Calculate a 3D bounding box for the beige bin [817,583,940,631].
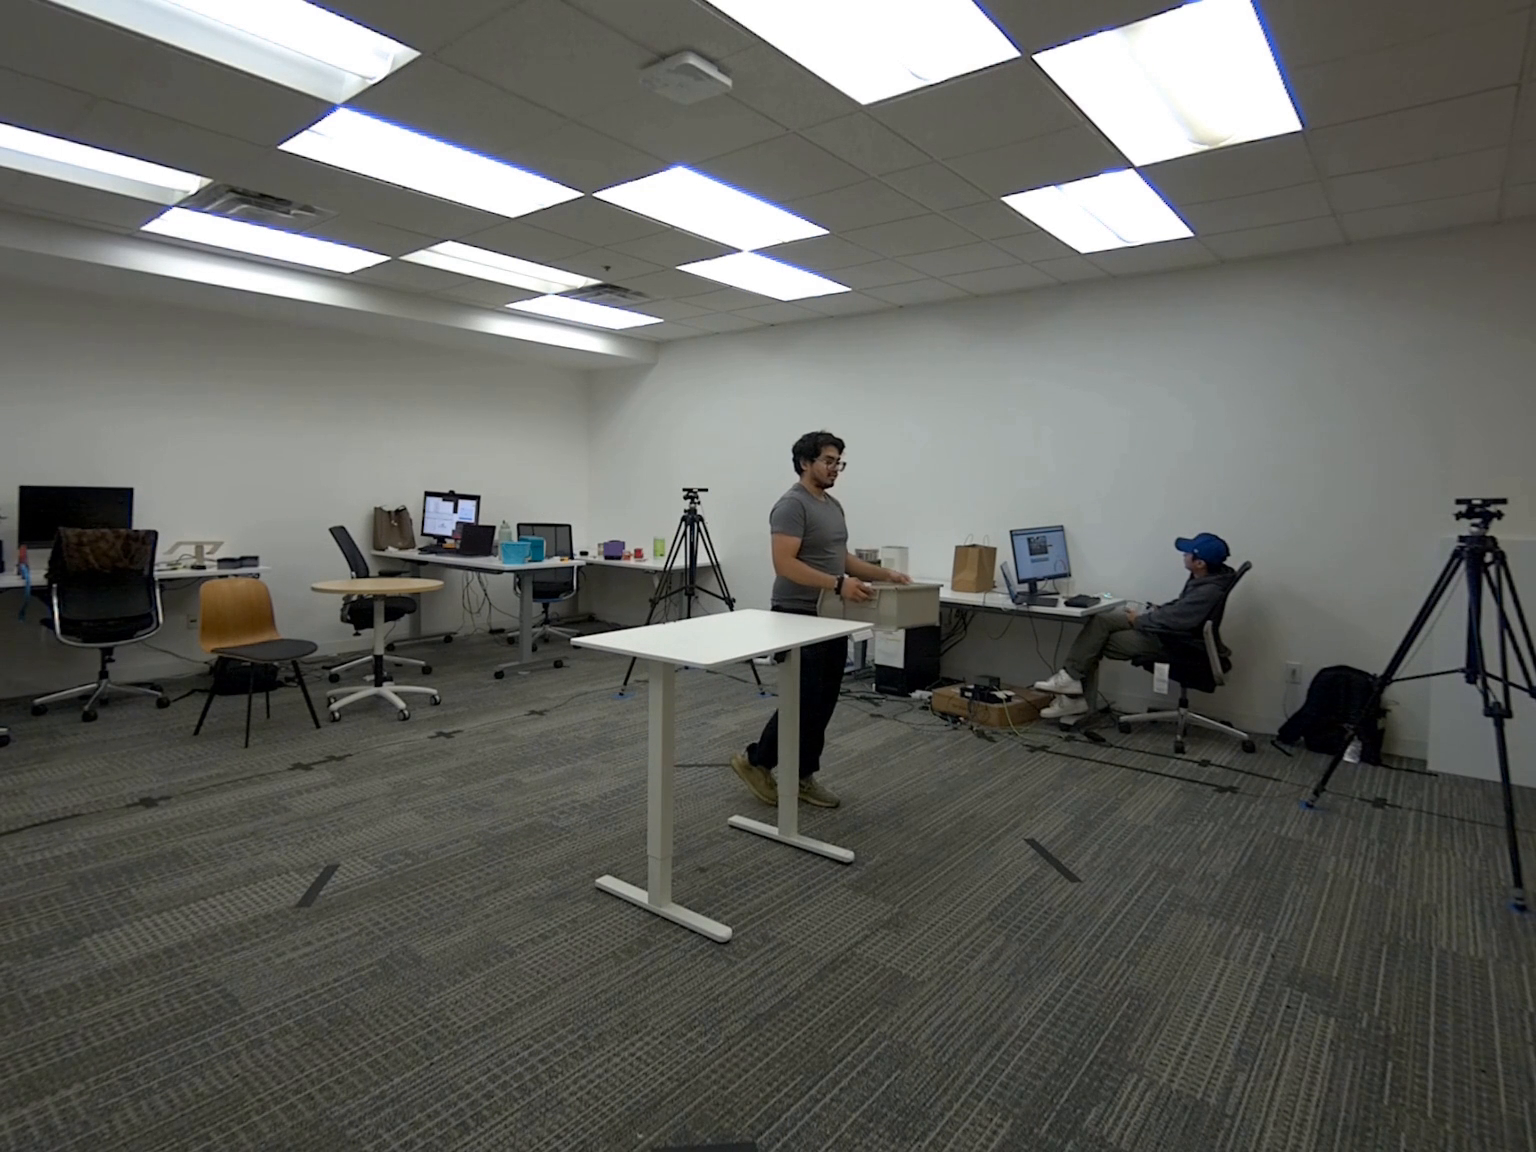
[{"bbox_3d":[0.467,0.117,3.620,0.390,0.189,0.409,4,2,37],"label":"beige bin"}]
